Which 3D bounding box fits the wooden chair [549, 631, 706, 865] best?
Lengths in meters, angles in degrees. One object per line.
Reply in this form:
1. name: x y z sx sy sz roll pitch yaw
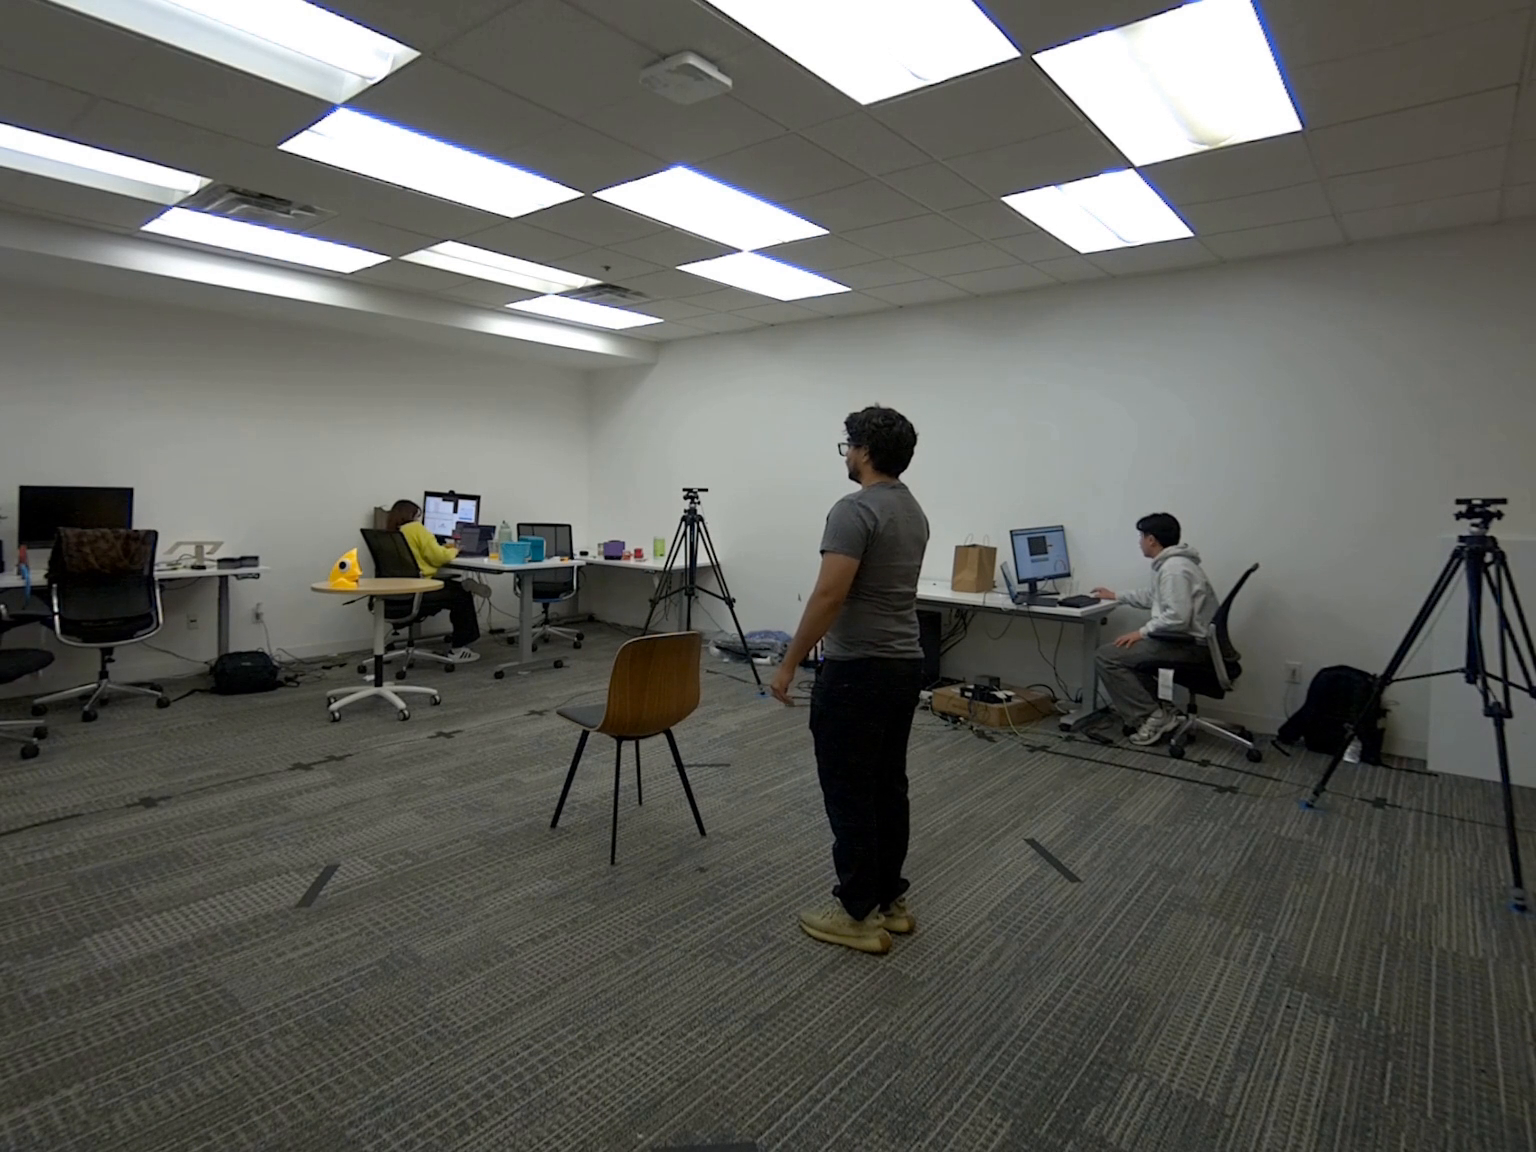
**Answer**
1. wooden chair: -0.571 0.607 3.420 0.463 0.873 0.542 -1 8 -42
